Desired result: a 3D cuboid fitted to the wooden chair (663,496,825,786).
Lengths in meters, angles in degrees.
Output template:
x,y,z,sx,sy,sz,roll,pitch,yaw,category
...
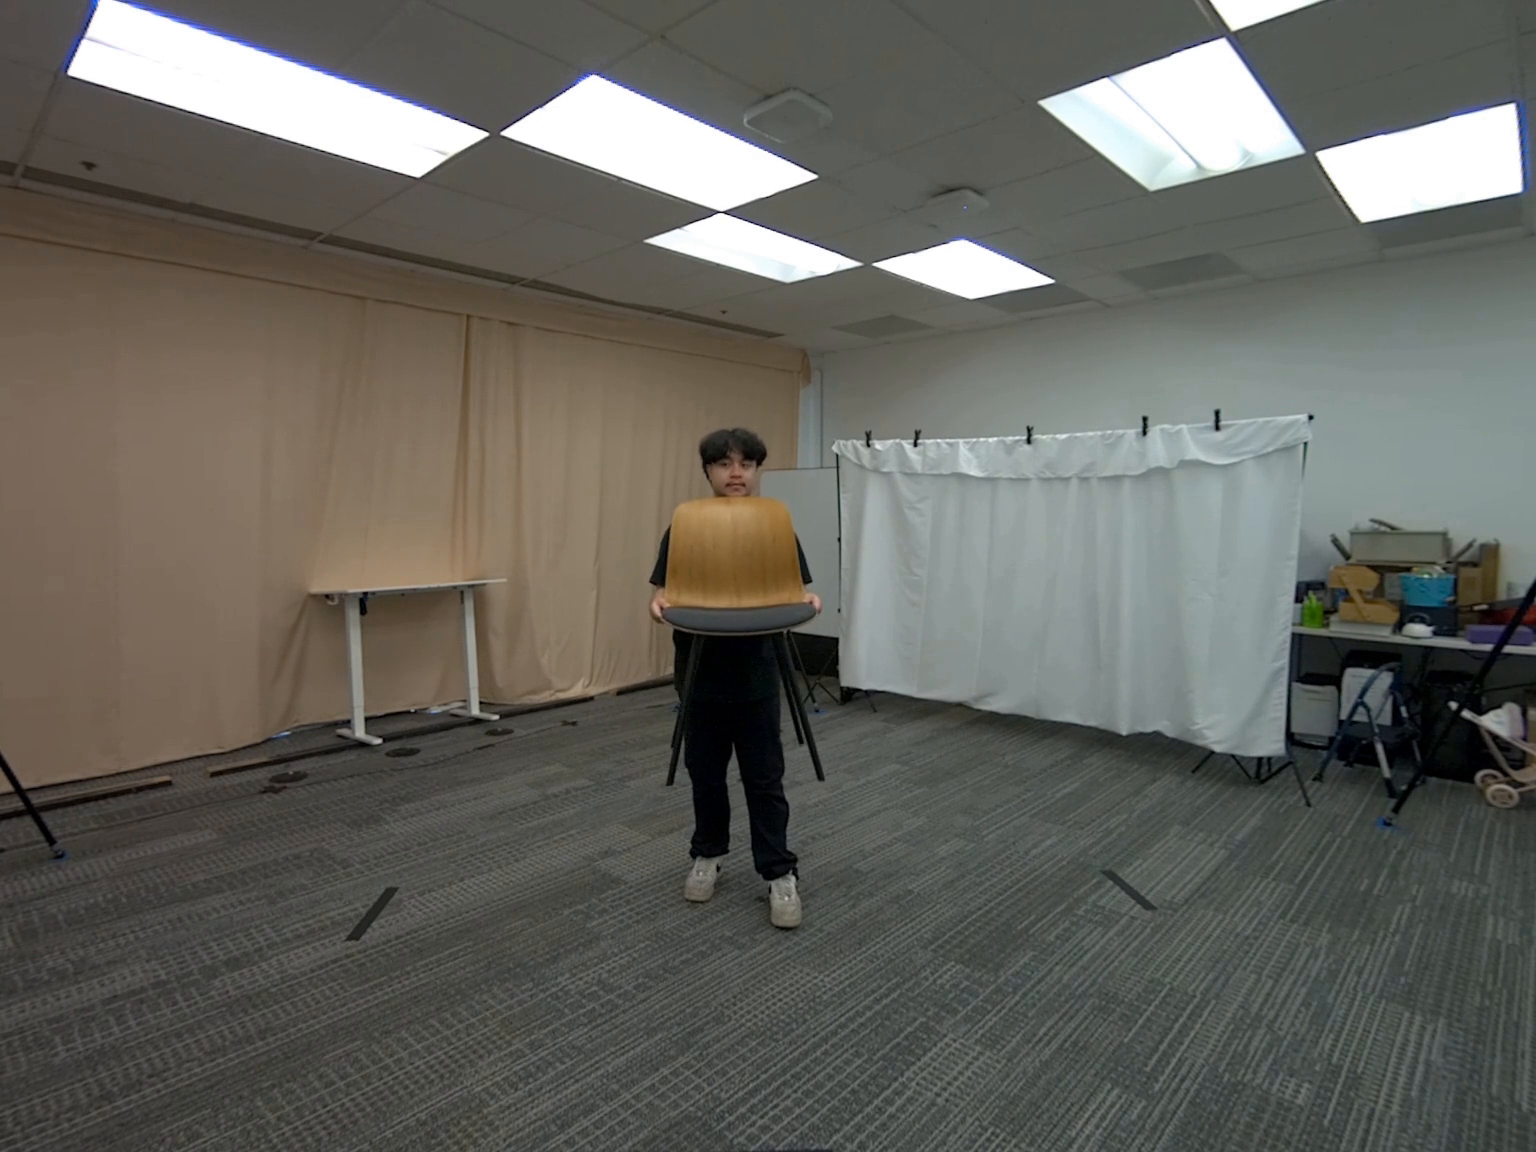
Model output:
x,y,z,sx,sy,sz,roll,pitch,yaw,category
-0.082,0.163,2.608,0.477,0.879,0.524,-1,-3,-4,wooden chair
